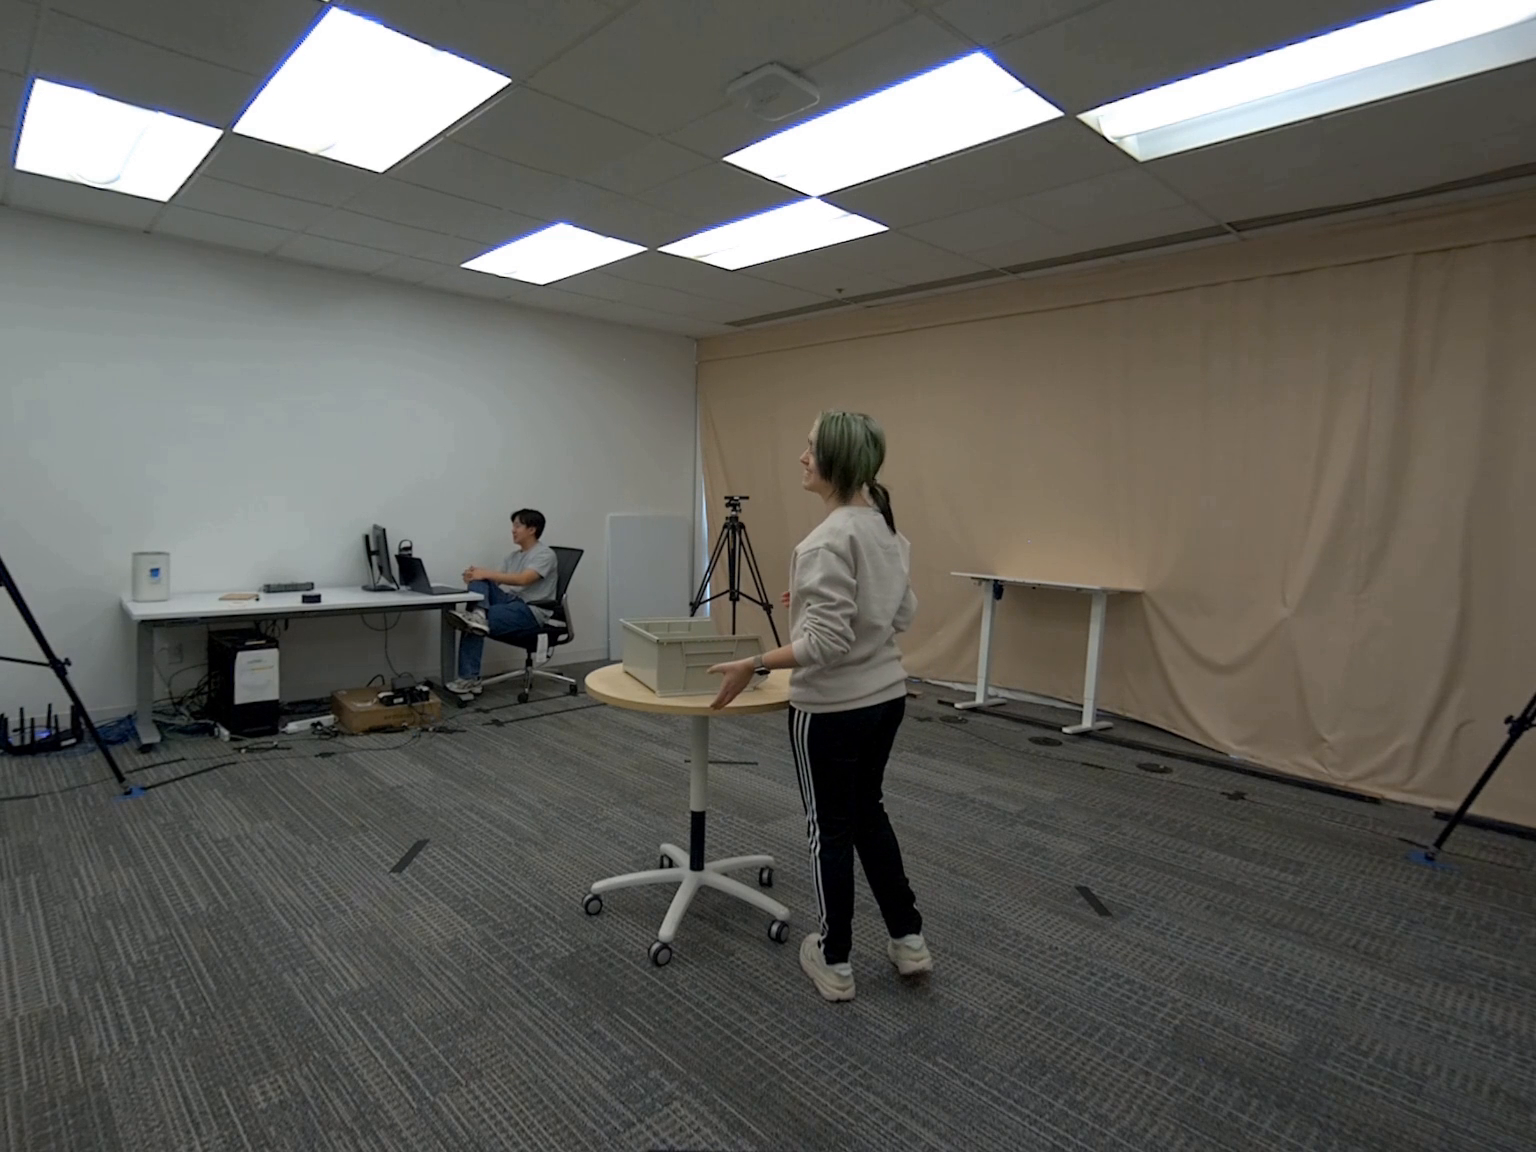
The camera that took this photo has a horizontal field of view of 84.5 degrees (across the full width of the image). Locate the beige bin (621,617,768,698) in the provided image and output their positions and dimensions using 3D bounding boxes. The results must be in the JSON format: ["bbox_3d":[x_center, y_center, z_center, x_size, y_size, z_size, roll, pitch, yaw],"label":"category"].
[{"bbox_3d":[-0.264,0.258,2.770,0.371,0.188,0.431,-2,6,-23],"label":"beige bin"}]
